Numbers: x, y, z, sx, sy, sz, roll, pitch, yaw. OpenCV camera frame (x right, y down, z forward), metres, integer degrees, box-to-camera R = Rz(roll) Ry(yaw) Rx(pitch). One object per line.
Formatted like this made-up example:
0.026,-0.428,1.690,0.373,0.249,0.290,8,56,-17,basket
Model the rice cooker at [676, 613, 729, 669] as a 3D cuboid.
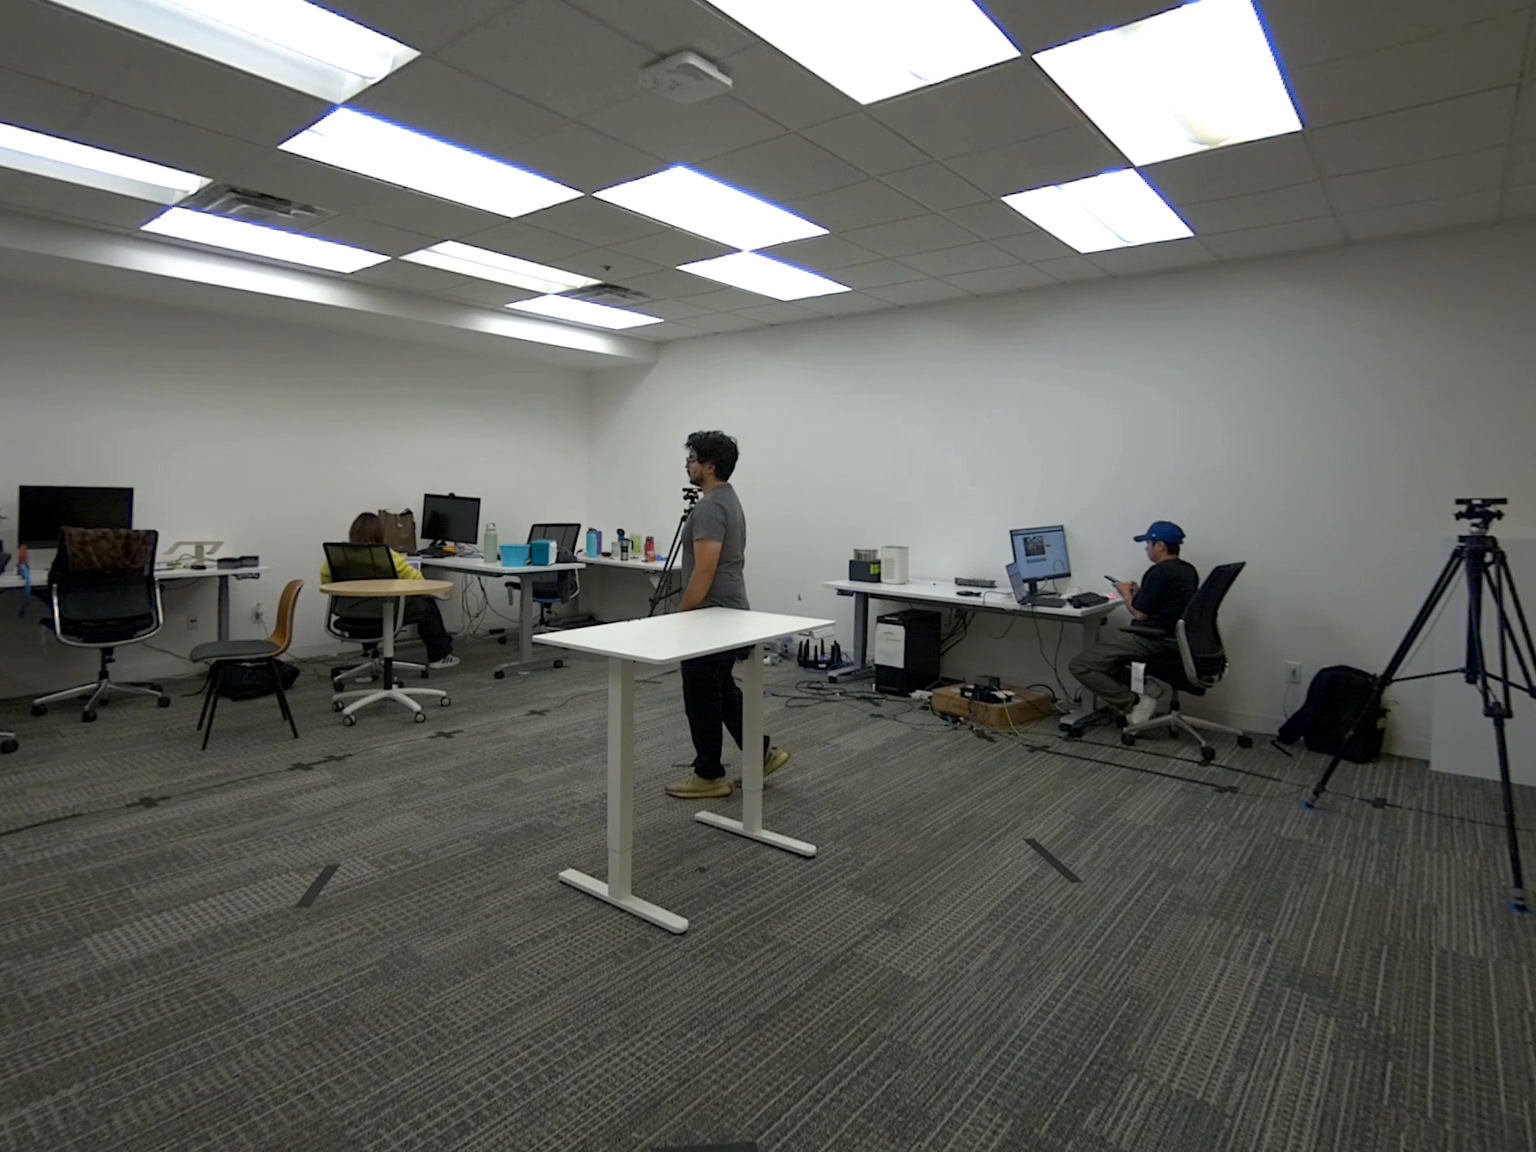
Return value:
-0.327,0.323,4.193,0.222,0.232,0.217,2,6,6,rice cooker
